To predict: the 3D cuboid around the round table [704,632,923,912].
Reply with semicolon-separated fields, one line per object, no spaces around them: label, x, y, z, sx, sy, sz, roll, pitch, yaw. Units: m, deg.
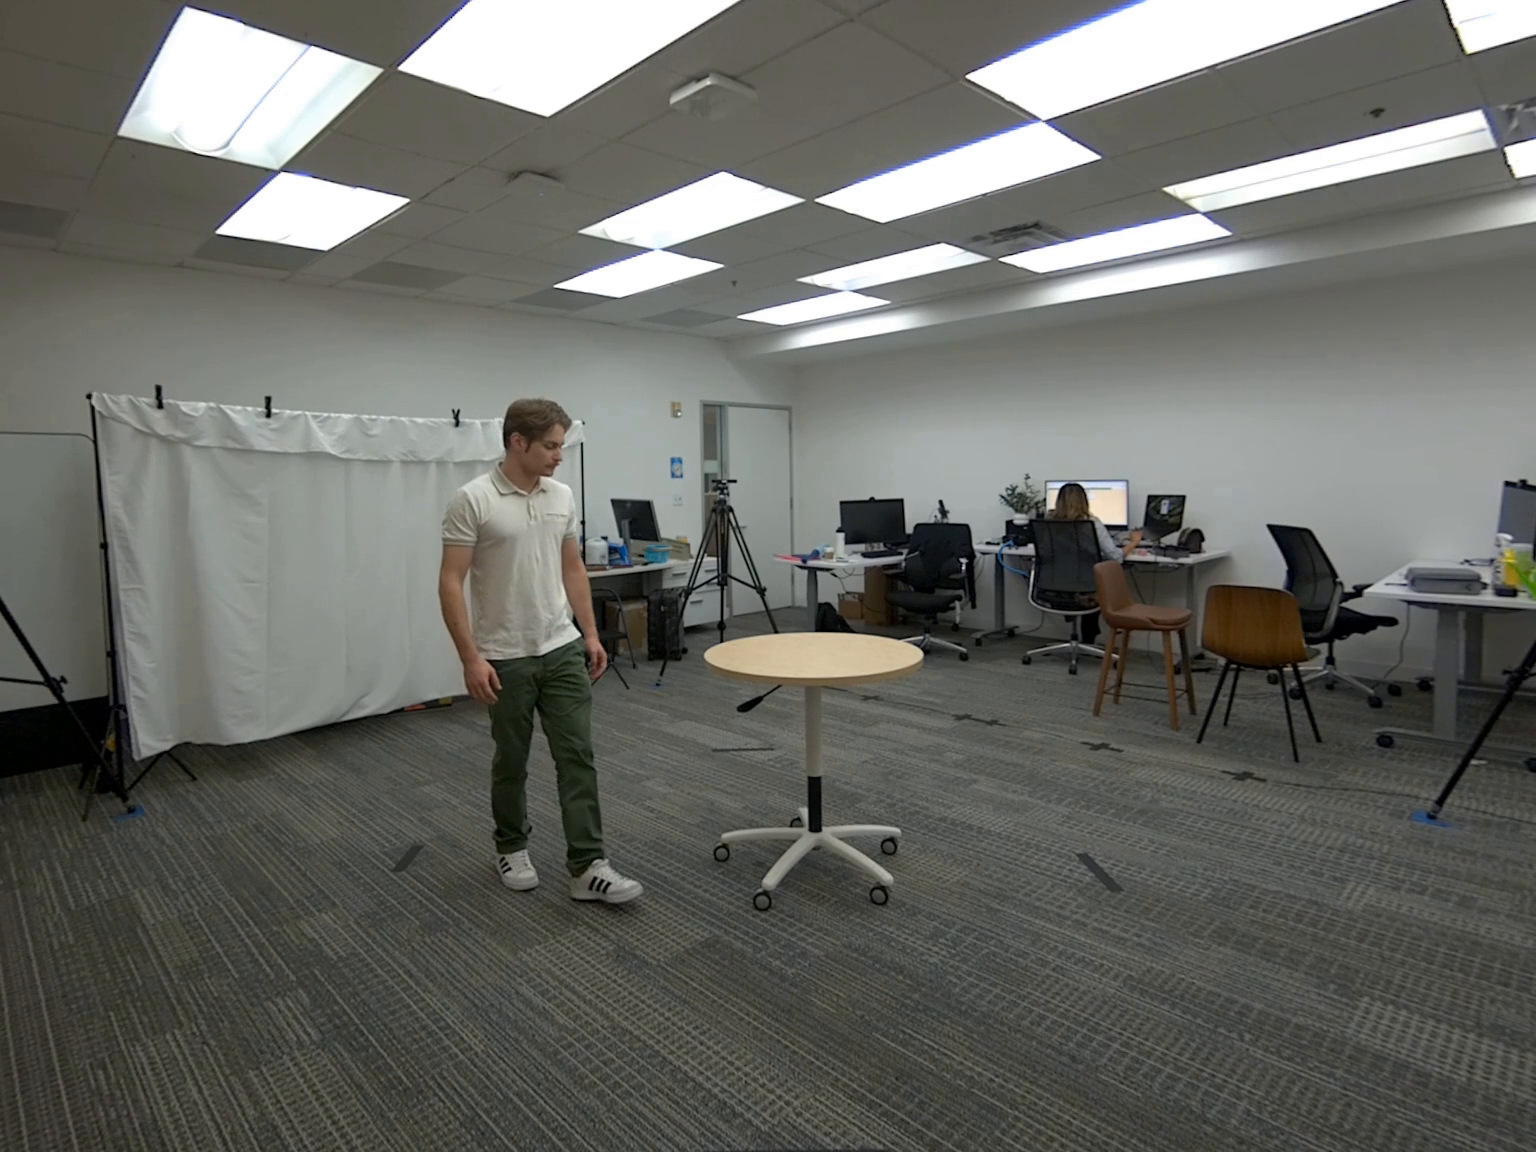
round table;0.164;0.663;3.044;0.763;0.791;0.768;-1;5;-2
